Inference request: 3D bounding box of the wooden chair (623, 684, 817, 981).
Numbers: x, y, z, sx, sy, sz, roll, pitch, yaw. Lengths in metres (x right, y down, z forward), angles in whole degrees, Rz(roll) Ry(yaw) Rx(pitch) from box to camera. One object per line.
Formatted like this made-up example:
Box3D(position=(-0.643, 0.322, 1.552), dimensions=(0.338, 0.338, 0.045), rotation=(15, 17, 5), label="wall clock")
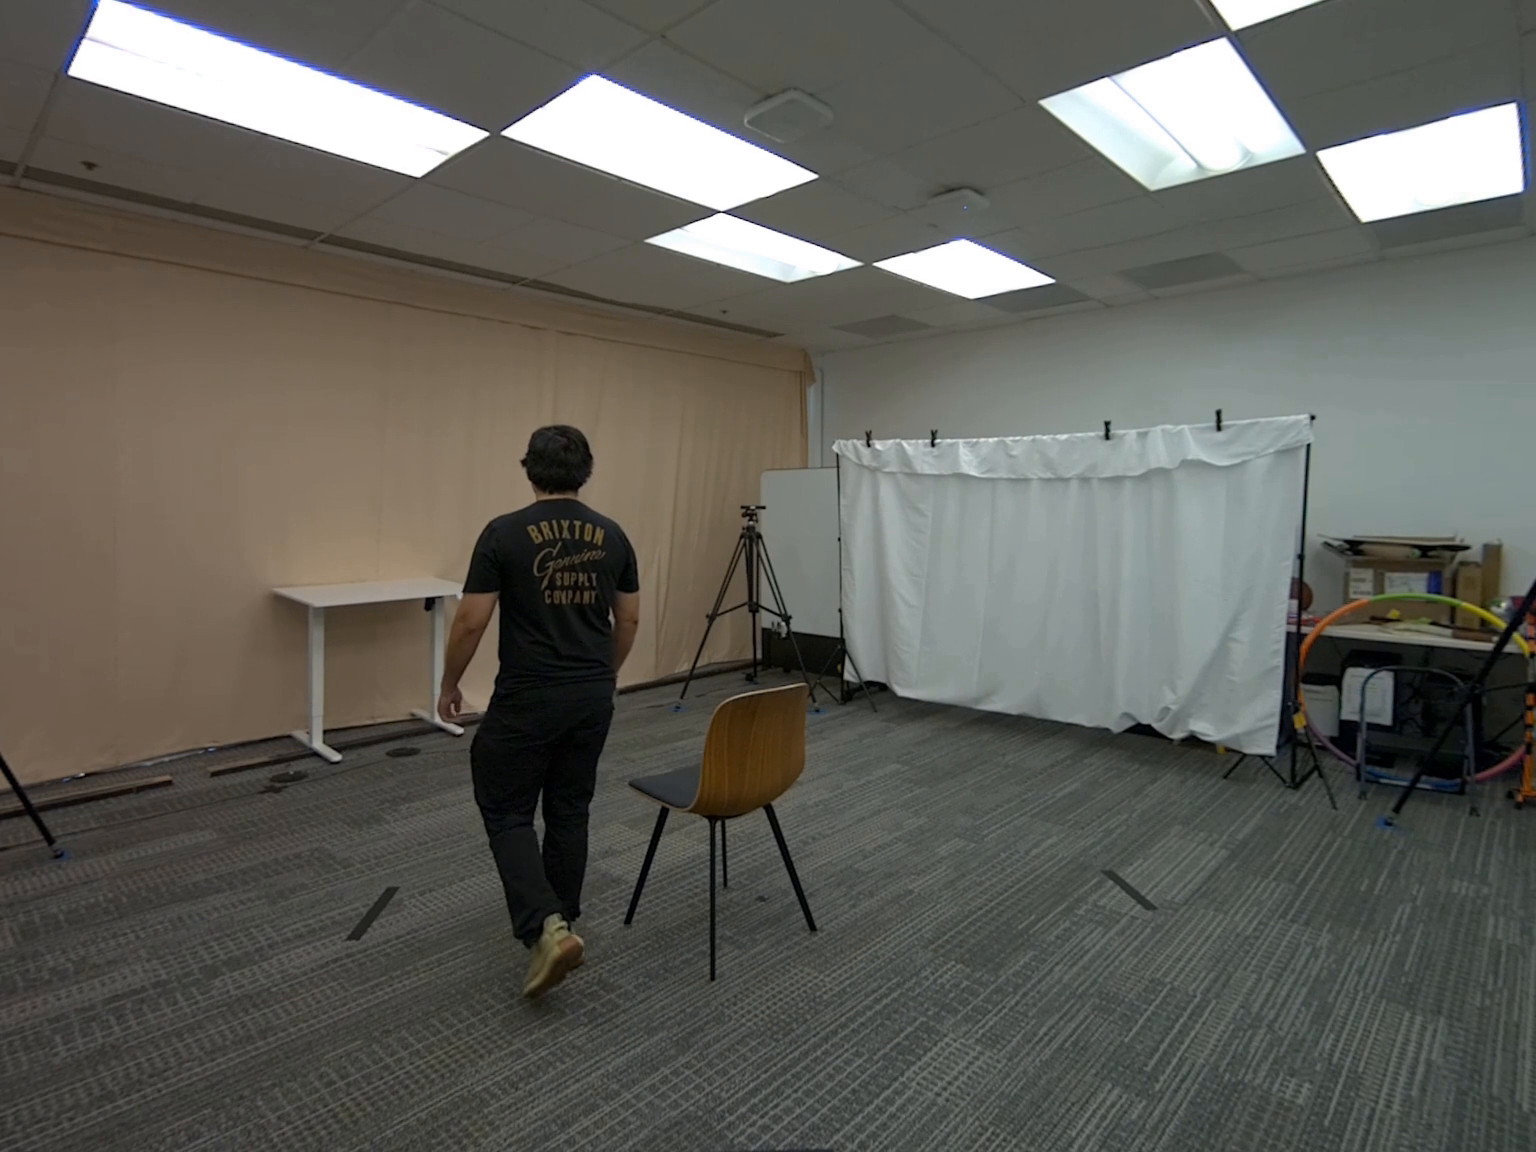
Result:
Box3D(position=(-0.164, 0.736, 2.758), dimensions=(0.463, 0.874, 0.541), rotation=(-3, 9, -42), label="wooden chair")
